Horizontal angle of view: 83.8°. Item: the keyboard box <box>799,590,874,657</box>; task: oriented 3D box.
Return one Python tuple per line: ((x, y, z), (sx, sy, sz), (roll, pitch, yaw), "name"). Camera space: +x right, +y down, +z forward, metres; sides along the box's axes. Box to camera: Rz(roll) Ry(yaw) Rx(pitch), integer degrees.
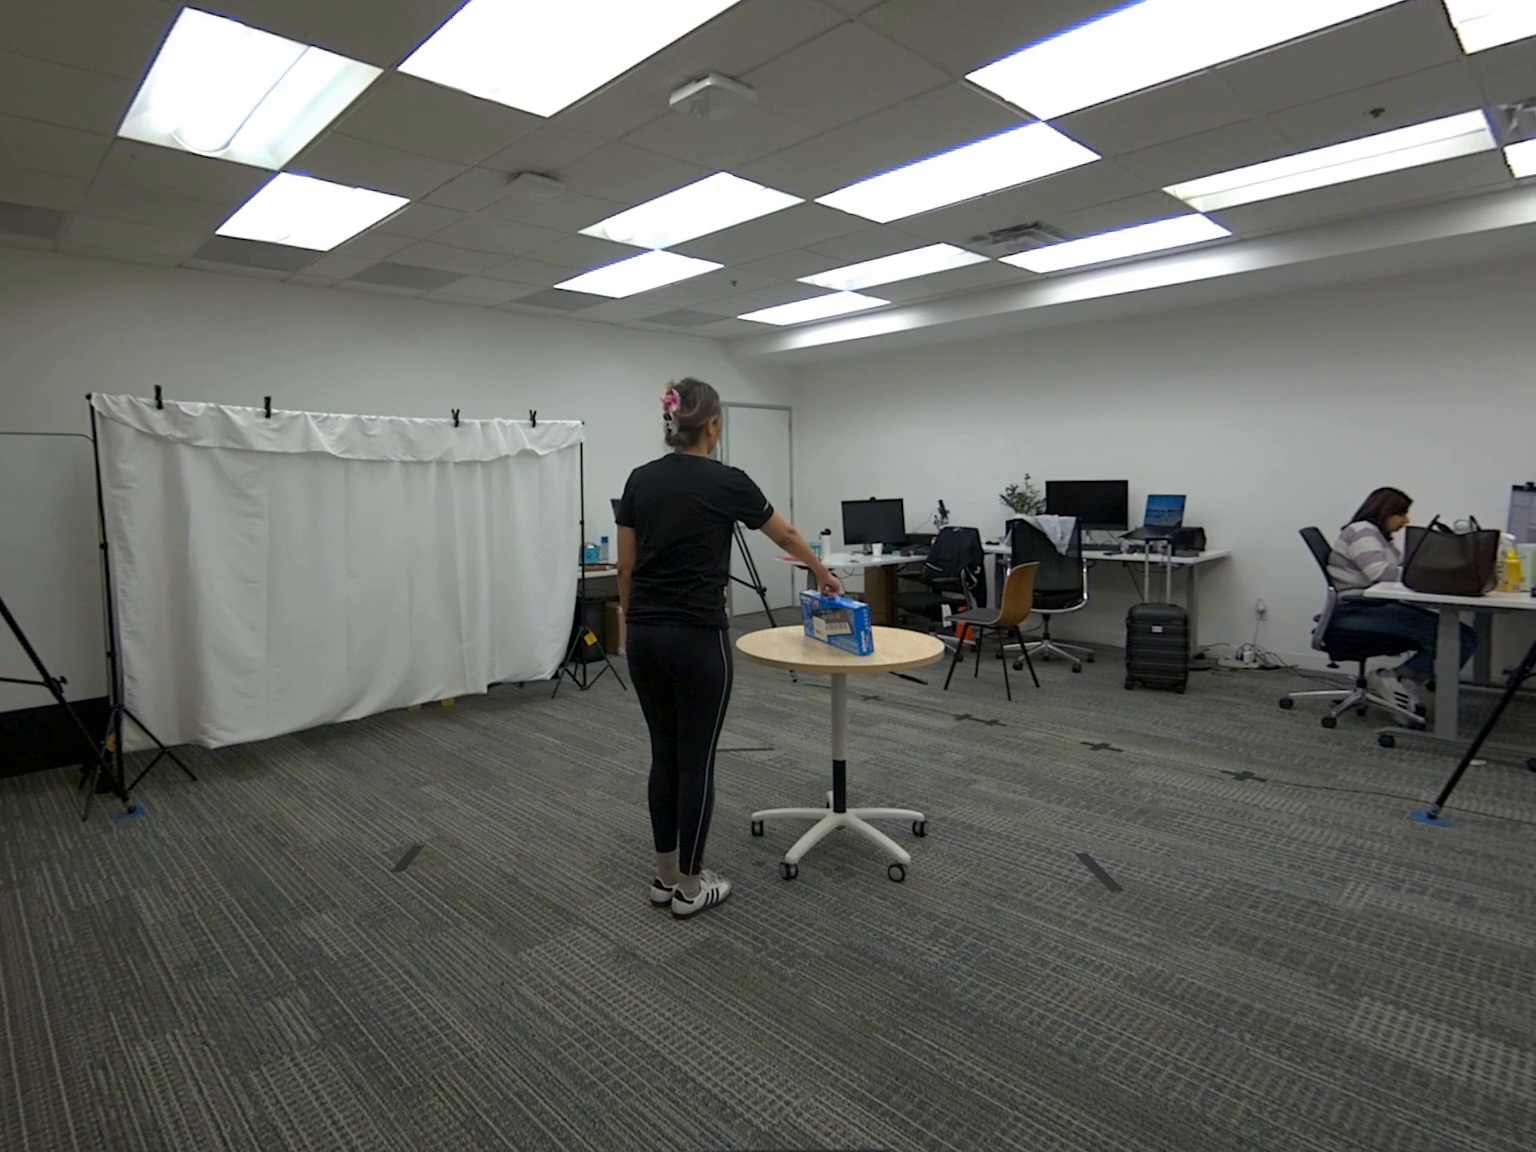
((0.247, 0.167, 3.146), (0.058, 0.174, 0.447), (-10, 9, -21), "keyboard box")
